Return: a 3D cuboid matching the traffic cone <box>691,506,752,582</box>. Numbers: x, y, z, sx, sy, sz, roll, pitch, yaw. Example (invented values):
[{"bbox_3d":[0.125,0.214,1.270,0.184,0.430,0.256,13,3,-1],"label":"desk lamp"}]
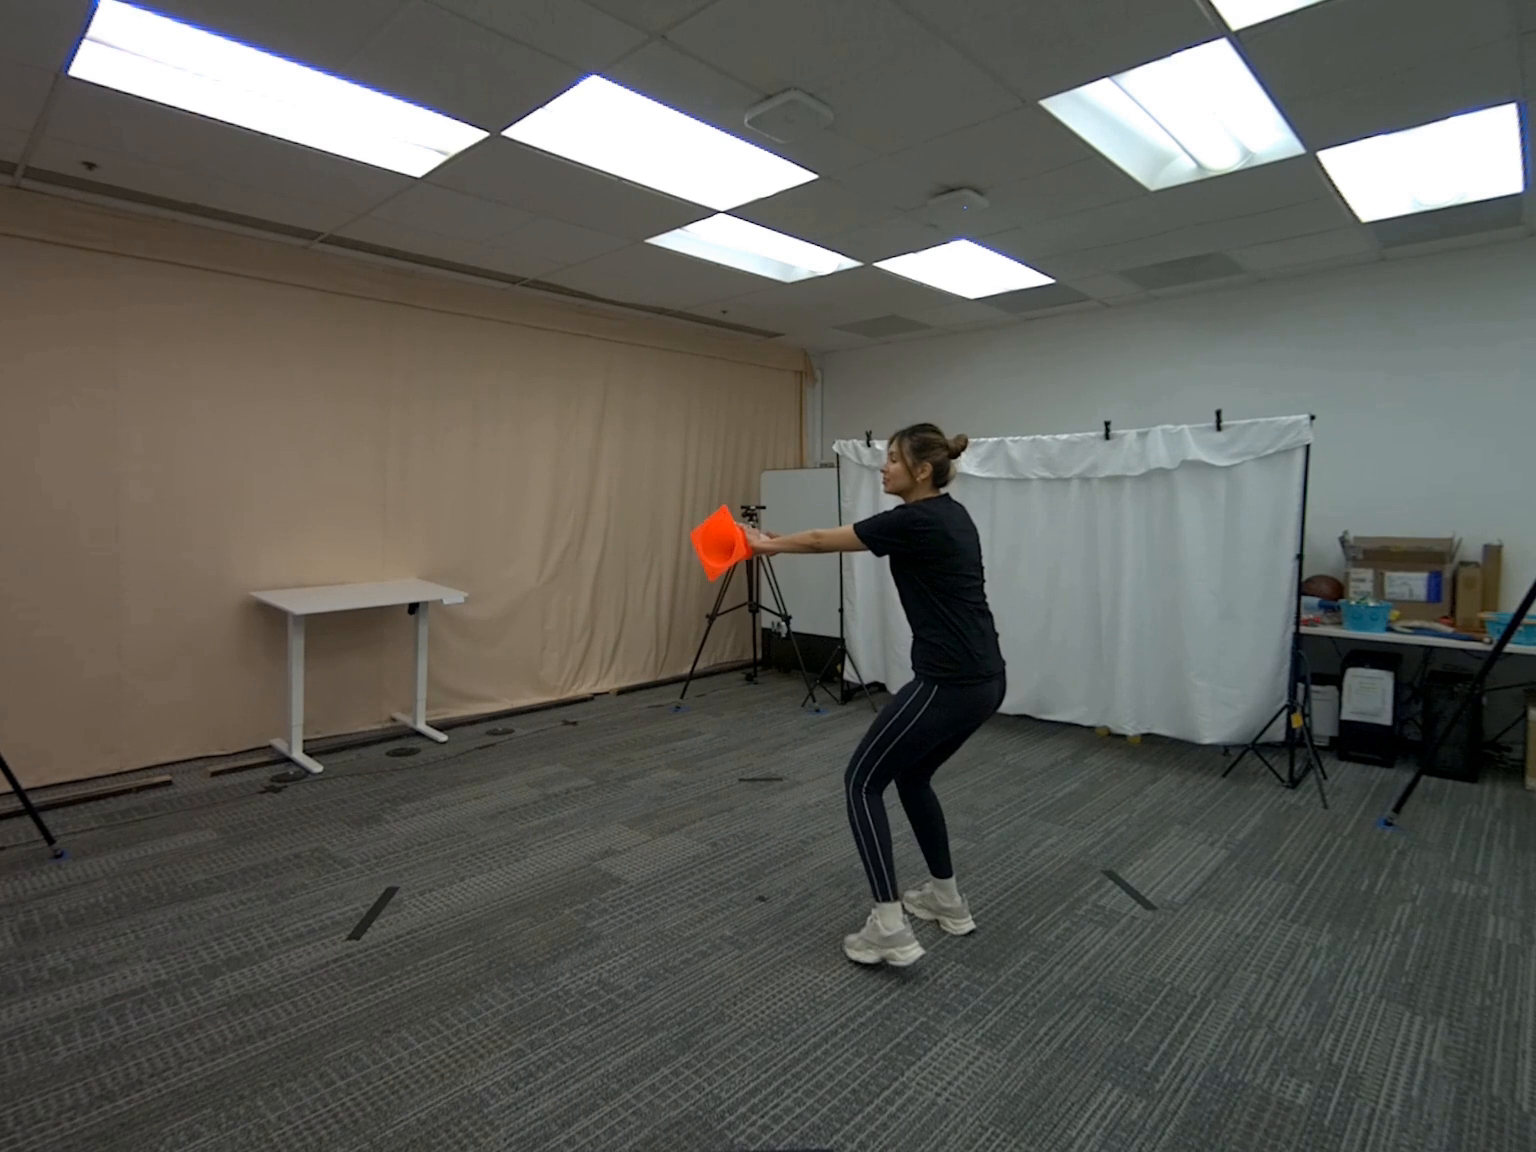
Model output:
[{"bbox_3d":[-0.053,-0.103,3.038,0.371,0.209,0.206,1,-31,-48],"label":"traffic cone"}]
